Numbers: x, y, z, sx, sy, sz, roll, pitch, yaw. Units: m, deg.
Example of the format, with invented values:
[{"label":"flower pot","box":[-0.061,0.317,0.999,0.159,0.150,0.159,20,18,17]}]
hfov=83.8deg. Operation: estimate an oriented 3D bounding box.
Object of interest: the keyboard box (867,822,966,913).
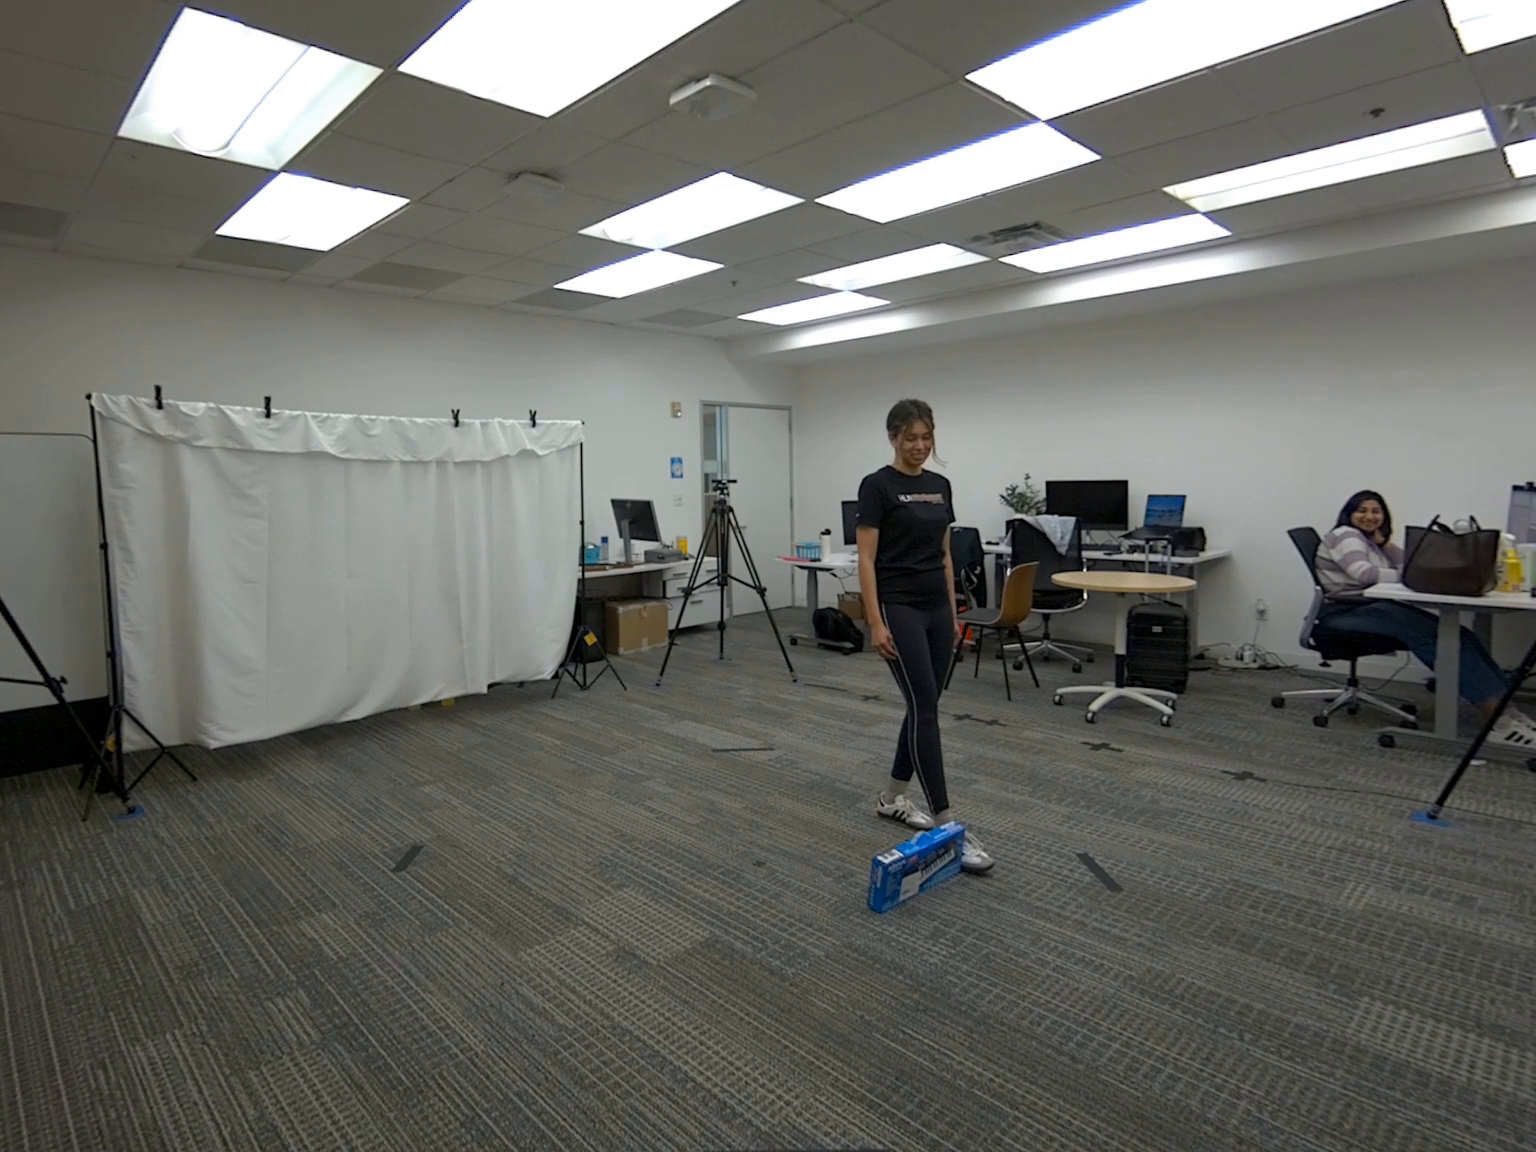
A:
[{"label":"keyboard box","box":[0.508,0.977,2.877,0.425,0.174,0.061,-7,15,-42]}]
